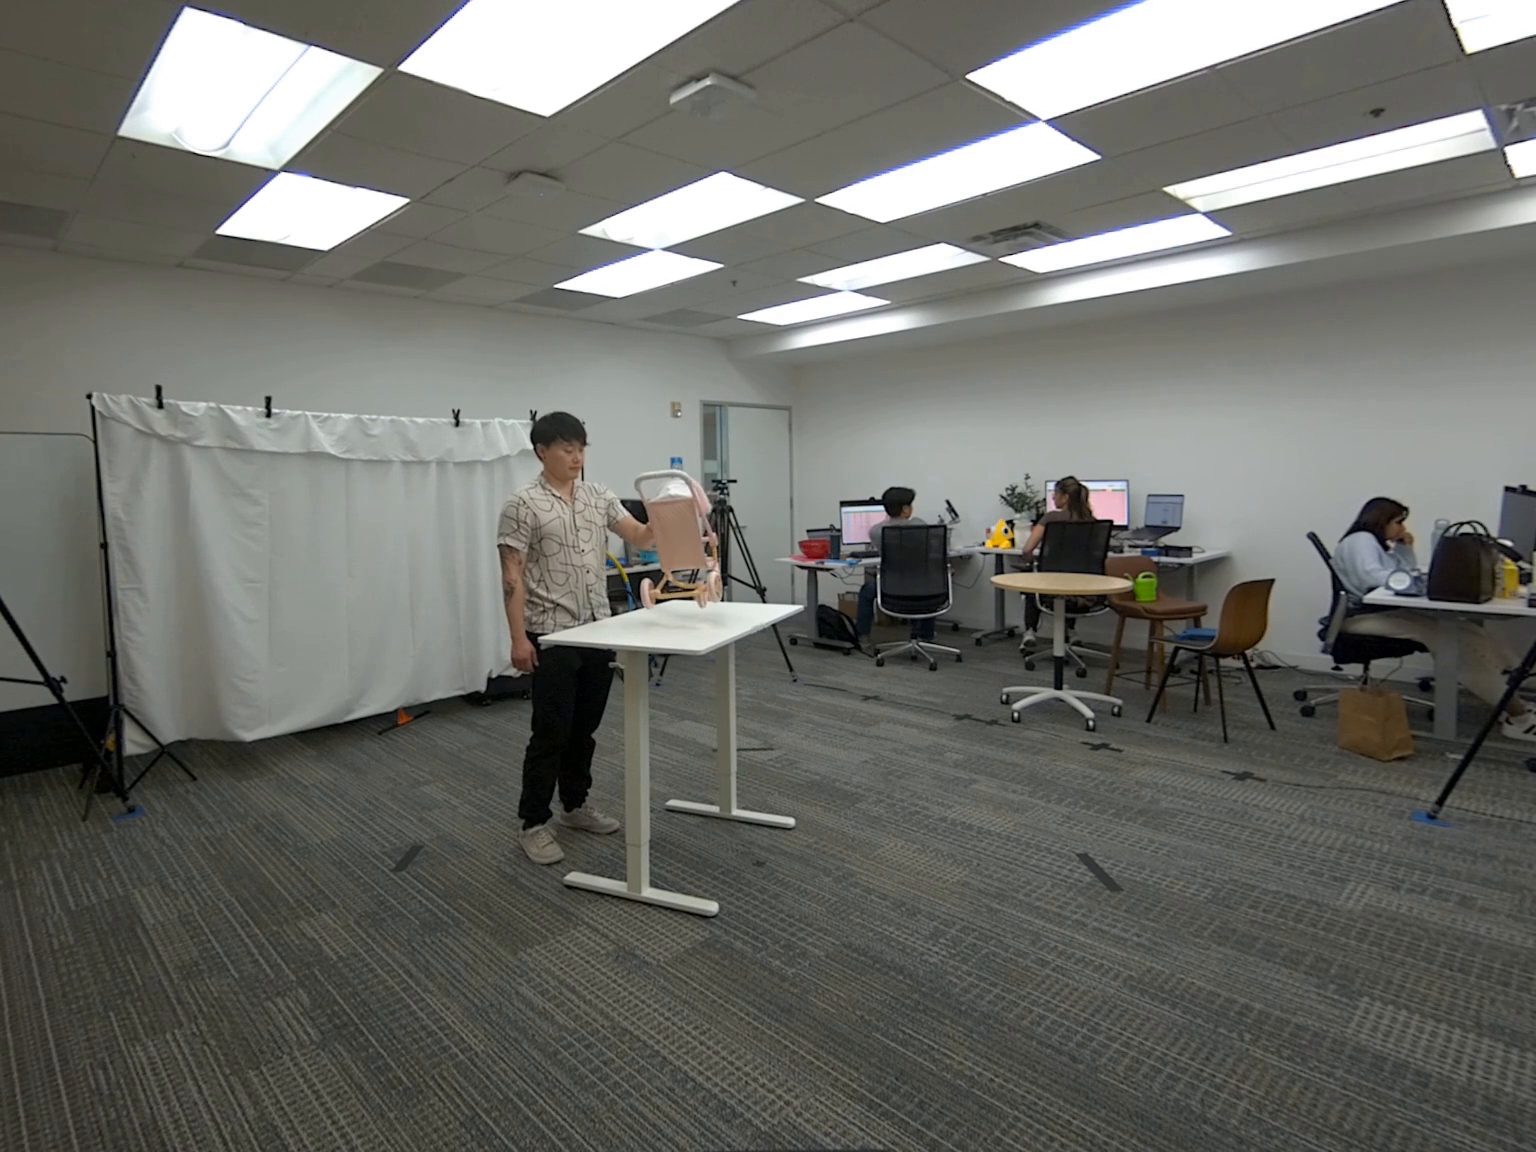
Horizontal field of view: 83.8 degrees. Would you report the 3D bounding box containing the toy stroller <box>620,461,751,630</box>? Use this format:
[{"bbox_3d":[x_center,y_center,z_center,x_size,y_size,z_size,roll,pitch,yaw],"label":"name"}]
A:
[{"bbox_3d":[-0.290,-0.123,3.103,0.285,0.533,0.338,-9,5,17],"label":"toy stroller"}]
